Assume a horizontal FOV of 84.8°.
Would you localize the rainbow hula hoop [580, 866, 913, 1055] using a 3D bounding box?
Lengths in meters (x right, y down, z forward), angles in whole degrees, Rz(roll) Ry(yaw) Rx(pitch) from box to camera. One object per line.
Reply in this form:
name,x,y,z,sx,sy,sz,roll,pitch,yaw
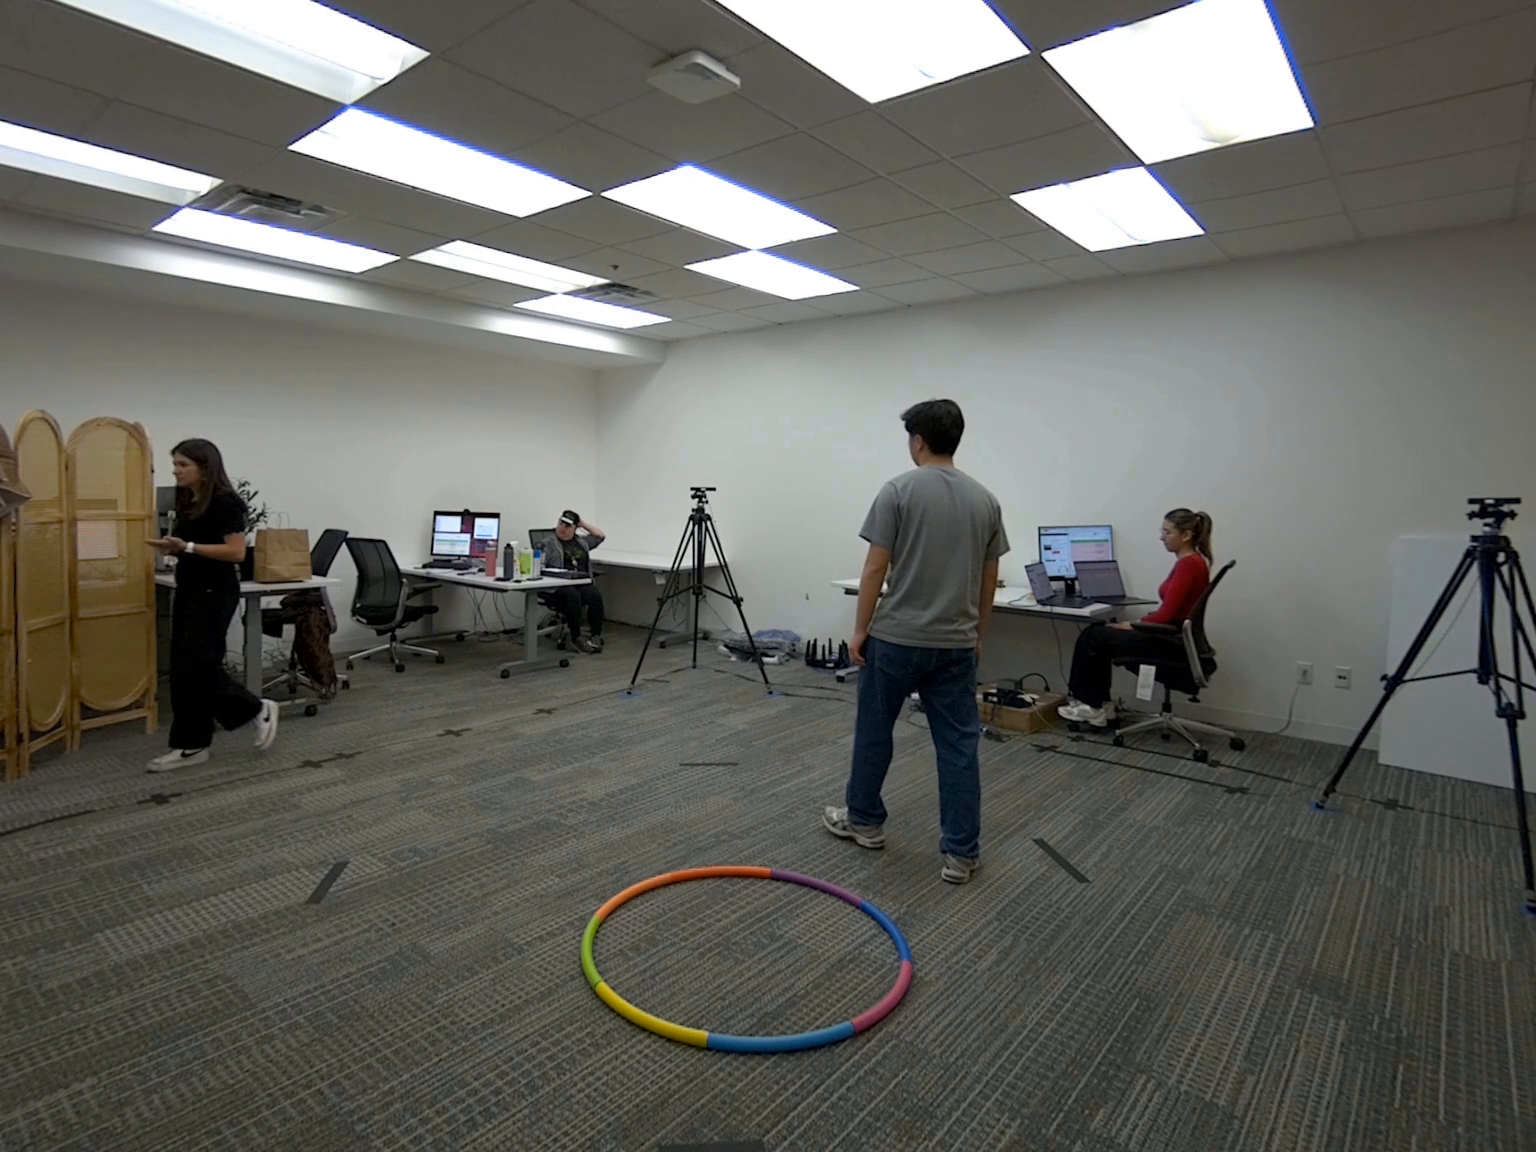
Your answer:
rainbow hula hoop,-0.077,1.090,2.577,0.978,0.035,0.984,1,6,-2
